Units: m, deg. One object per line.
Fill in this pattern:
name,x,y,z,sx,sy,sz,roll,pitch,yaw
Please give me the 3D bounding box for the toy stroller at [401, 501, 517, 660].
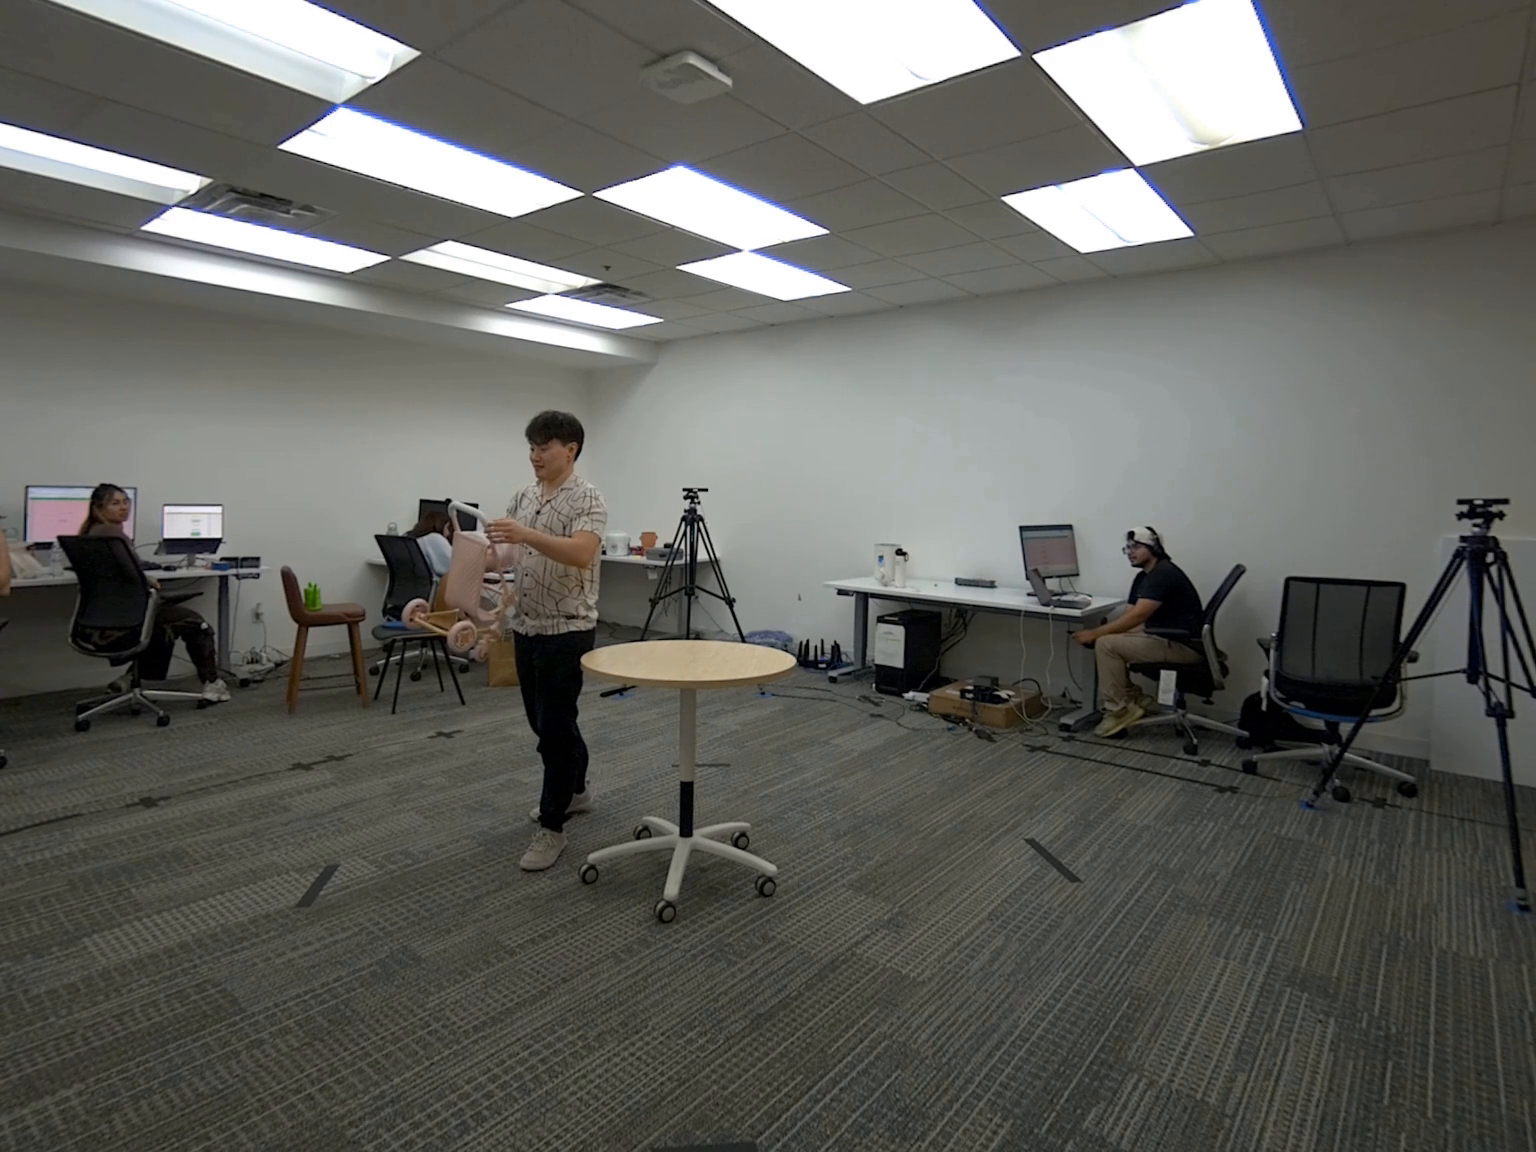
toy stroller,-1.051,0.038,3.013,0.292,0.535,0.329,16,-2,33
